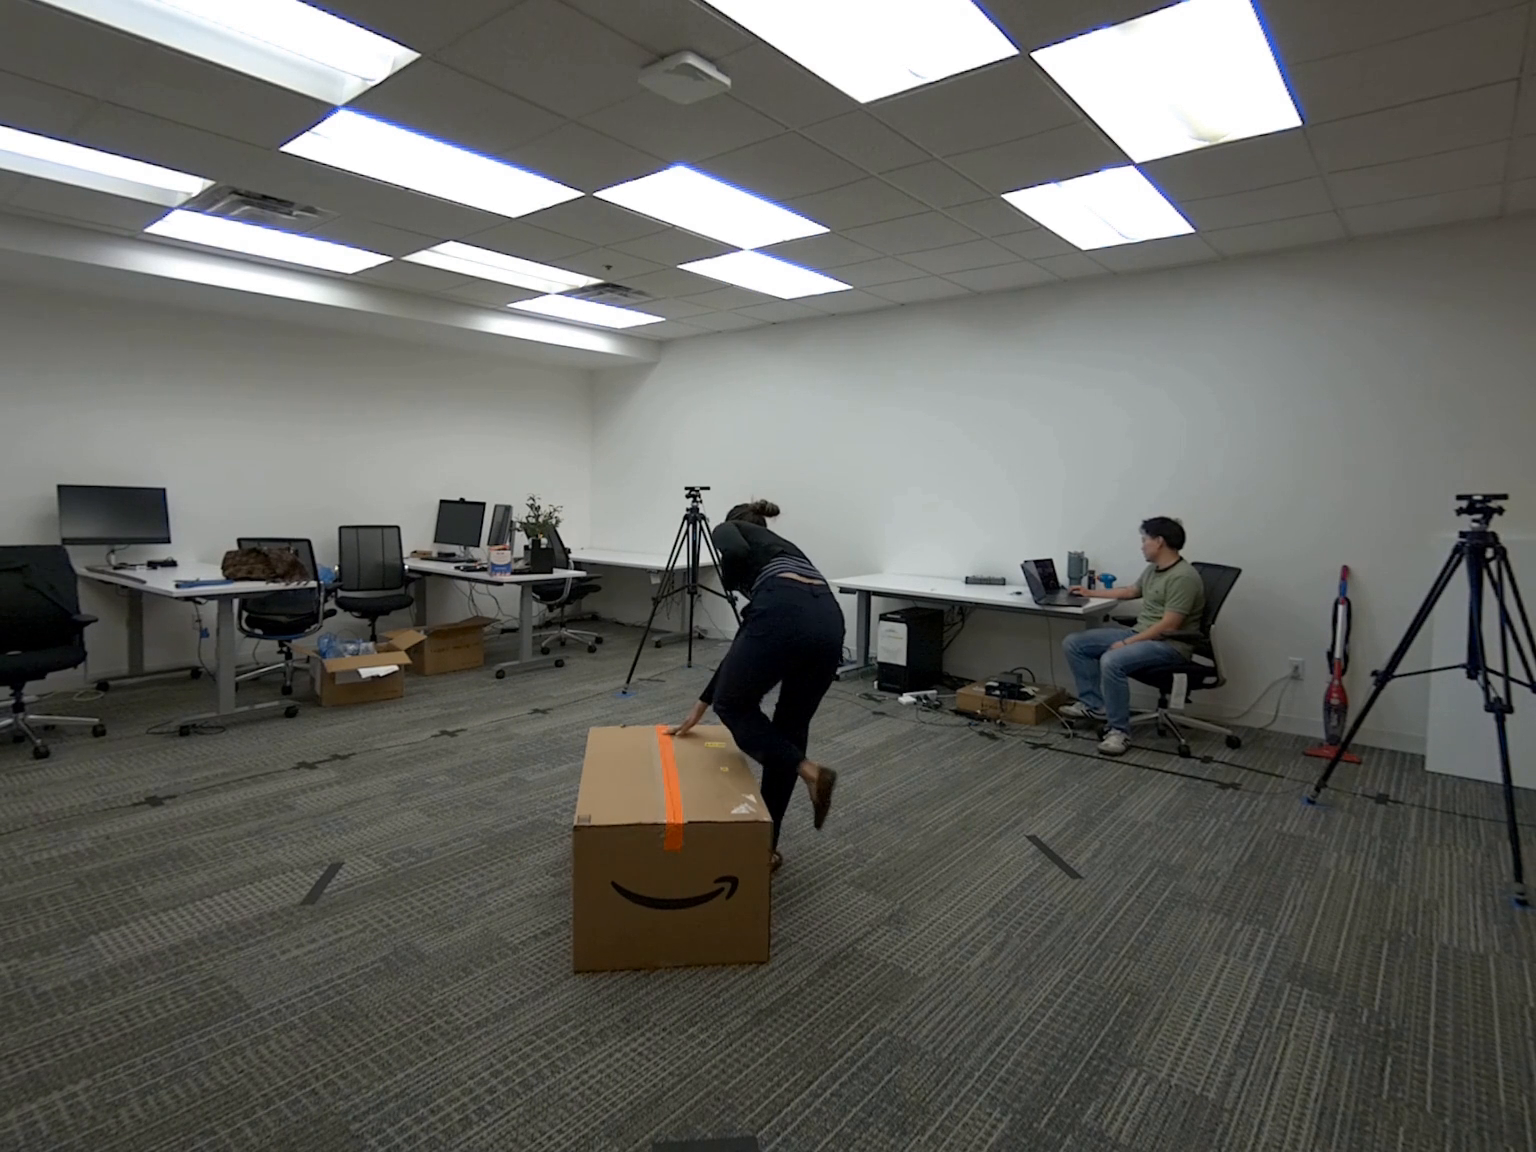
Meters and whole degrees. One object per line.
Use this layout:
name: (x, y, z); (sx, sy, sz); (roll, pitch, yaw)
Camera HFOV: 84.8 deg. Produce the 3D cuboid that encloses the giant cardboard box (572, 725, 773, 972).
giant cardboard box: (-0.369, 0.864, 2.945); (0.573, 0.425, 1.038); (1, 5, -9)
